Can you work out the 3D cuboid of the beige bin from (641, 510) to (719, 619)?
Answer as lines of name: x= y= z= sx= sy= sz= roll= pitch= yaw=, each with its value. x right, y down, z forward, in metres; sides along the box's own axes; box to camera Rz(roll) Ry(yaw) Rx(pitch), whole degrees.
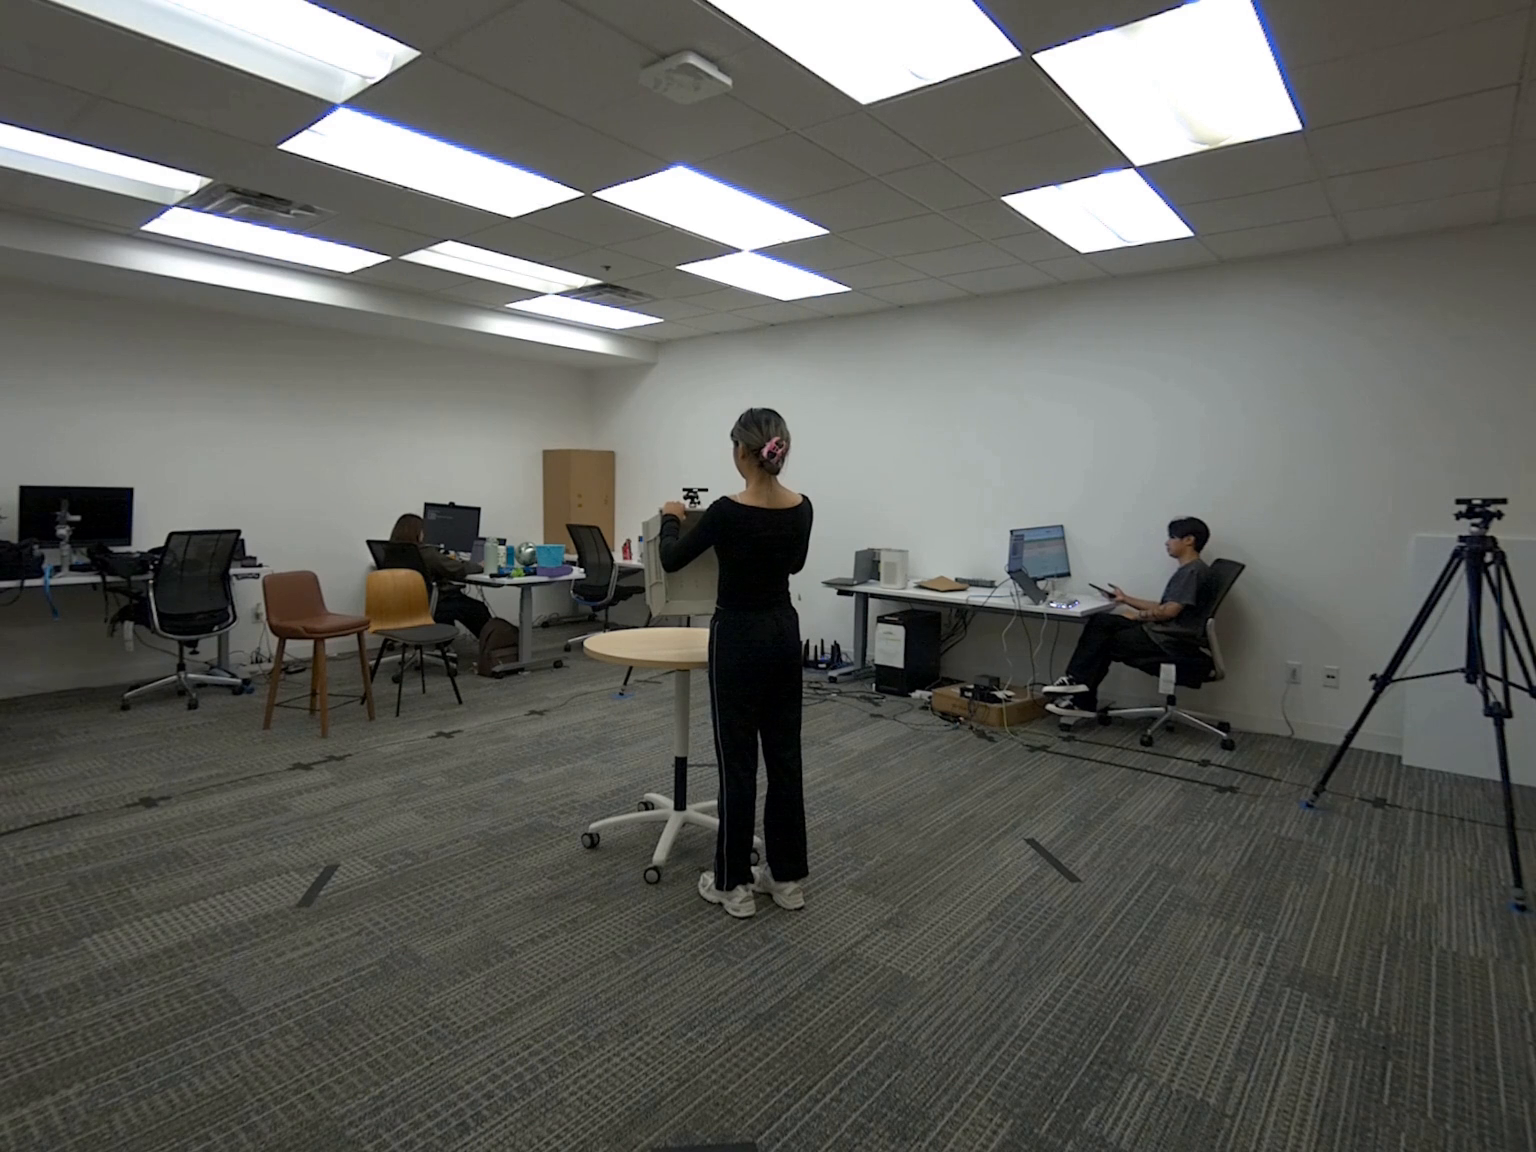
beige bin: x=-0.247 y=-0.051 z=3.164 sx=0.412 sy=0.382 sz=0.191 roll=0 pitch=-13 yaw=-27
